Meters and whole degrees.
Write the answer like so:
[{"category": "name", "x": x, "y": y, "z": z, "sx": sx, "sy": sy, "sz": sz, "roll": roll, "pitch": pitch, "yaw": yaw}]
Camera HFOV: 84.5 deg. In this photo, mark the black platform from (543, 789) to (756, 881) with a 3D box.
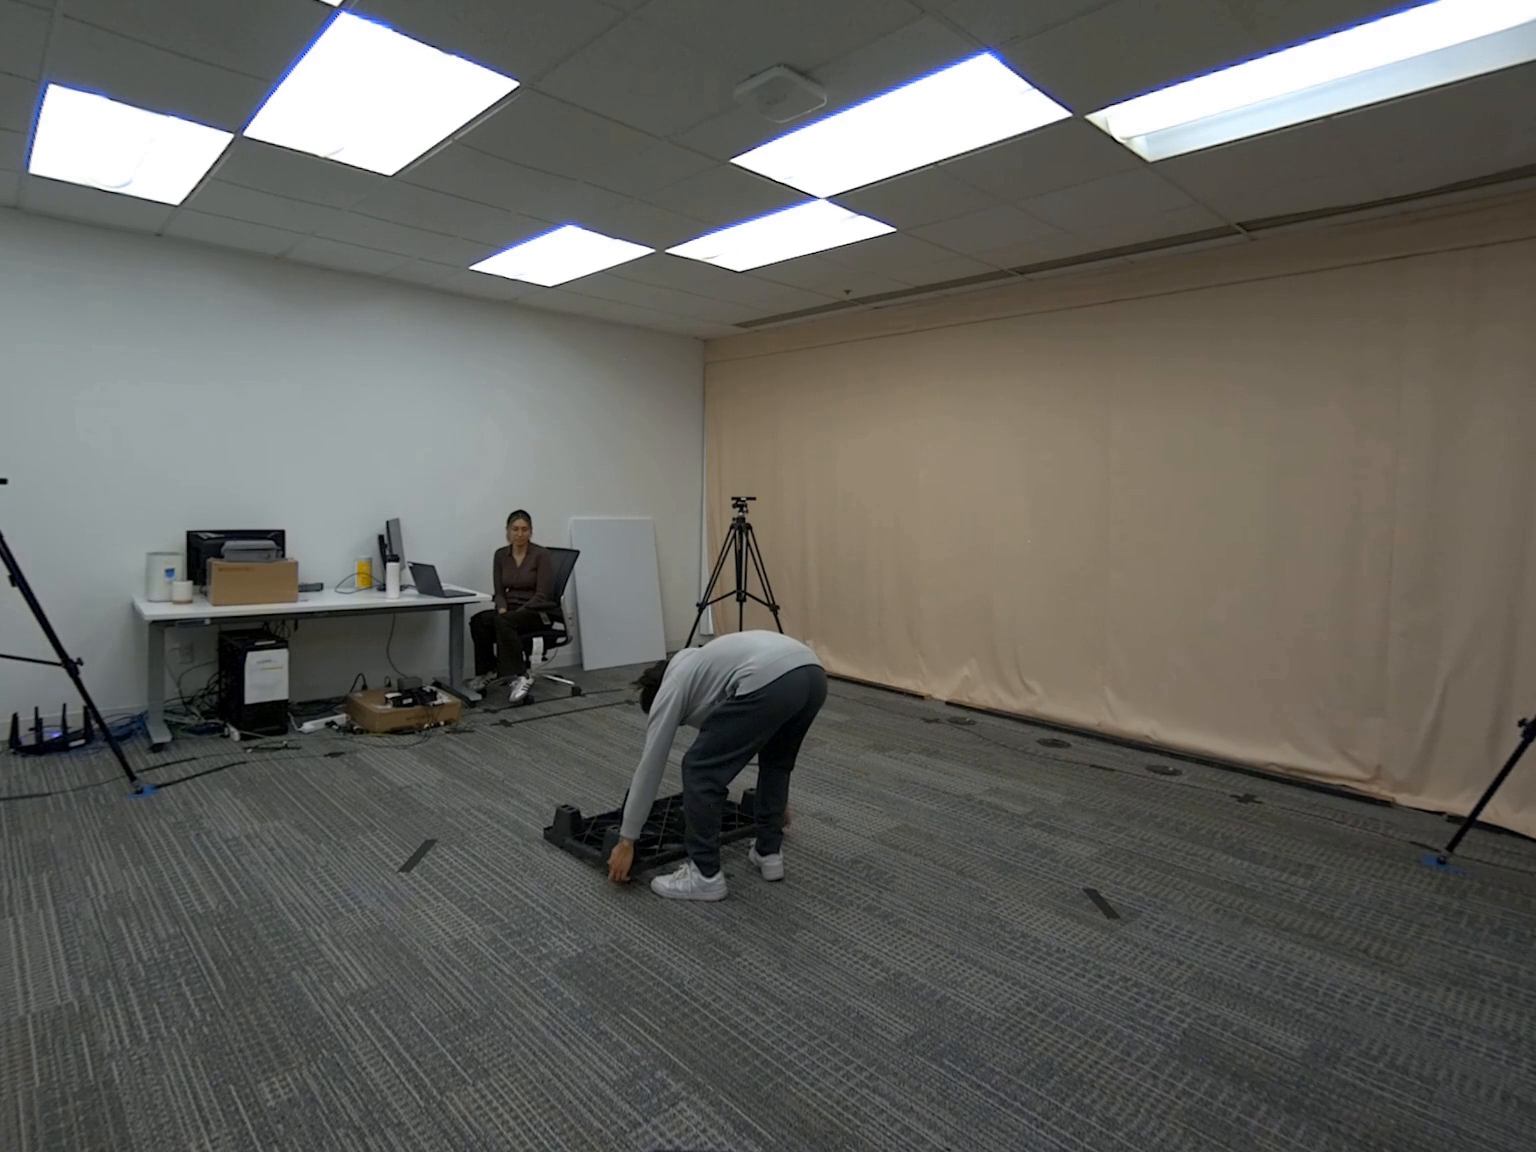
[{"category": "black platform", "x": -0.438, "y": 0.983, "z": 3.444, "sx": 0.787, "sy": 0.143, "sz": 0.619, "roll": -4, "pitch": 2, "yaw": -42}]
